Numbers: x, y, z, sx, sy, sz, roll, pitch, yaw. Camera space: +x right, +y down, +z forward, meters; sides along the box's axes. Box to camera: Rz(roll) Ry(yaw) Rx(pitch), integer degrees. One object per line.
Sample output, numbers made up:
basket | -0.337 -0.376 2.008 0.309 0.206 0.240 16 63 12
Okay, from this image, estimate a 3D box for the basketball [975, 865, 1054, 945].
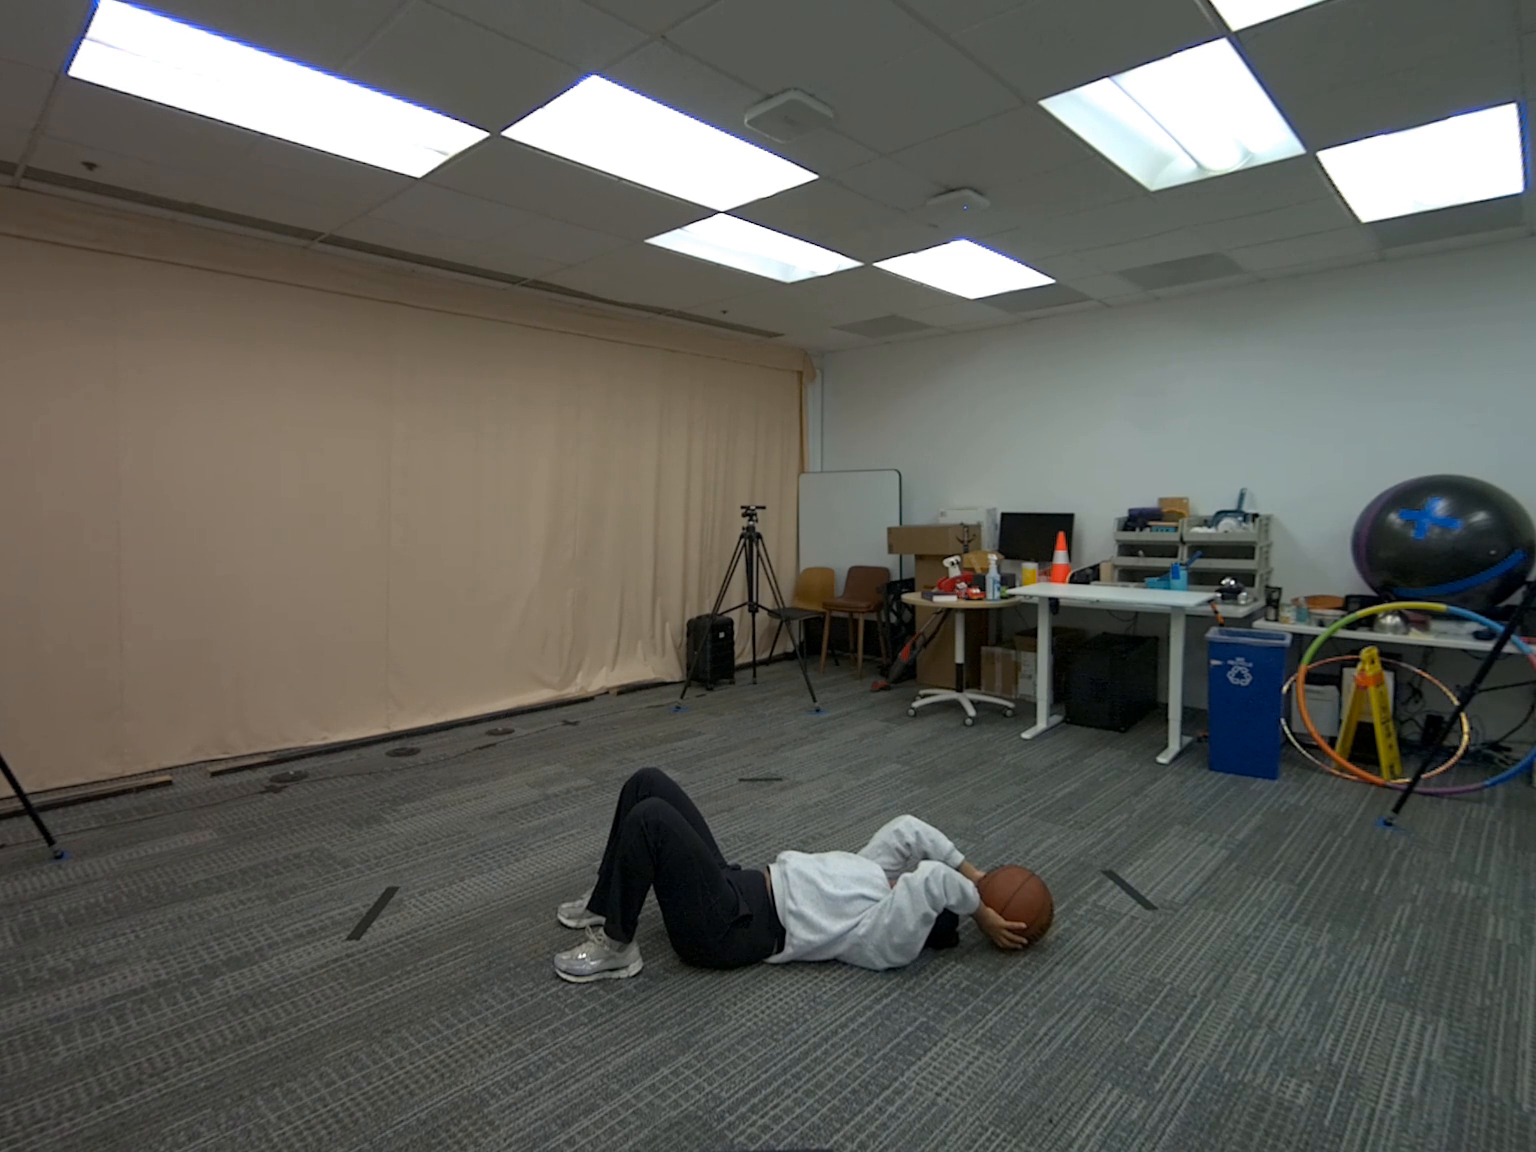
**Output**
basketball | 0.784 1.043 2.683 0.236 0.235 0.237 0 4 -2
